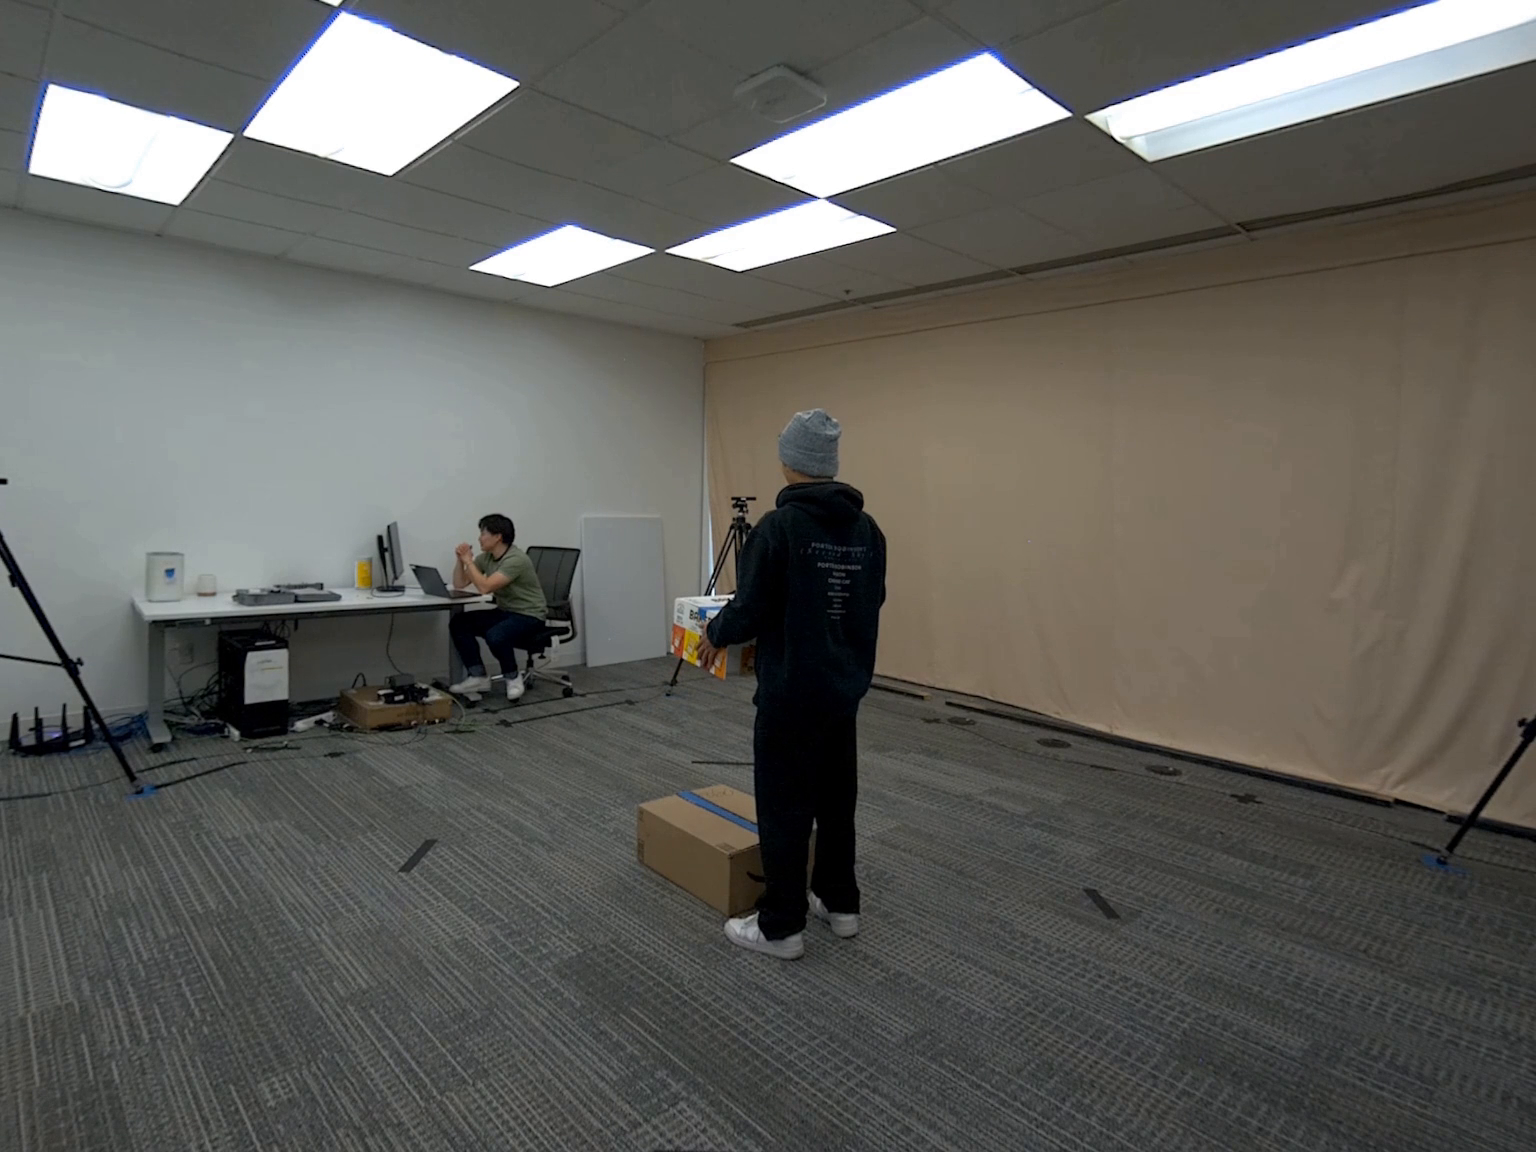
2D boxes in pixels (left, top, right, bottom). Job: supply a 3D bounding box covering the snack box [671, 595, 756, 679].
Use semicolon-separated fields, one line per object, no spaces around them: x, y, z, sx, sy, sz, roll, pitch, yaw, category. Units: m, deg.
-0.088;0.208;3.024;0.396;0.204;0.350;-3;13;-37;snack box
